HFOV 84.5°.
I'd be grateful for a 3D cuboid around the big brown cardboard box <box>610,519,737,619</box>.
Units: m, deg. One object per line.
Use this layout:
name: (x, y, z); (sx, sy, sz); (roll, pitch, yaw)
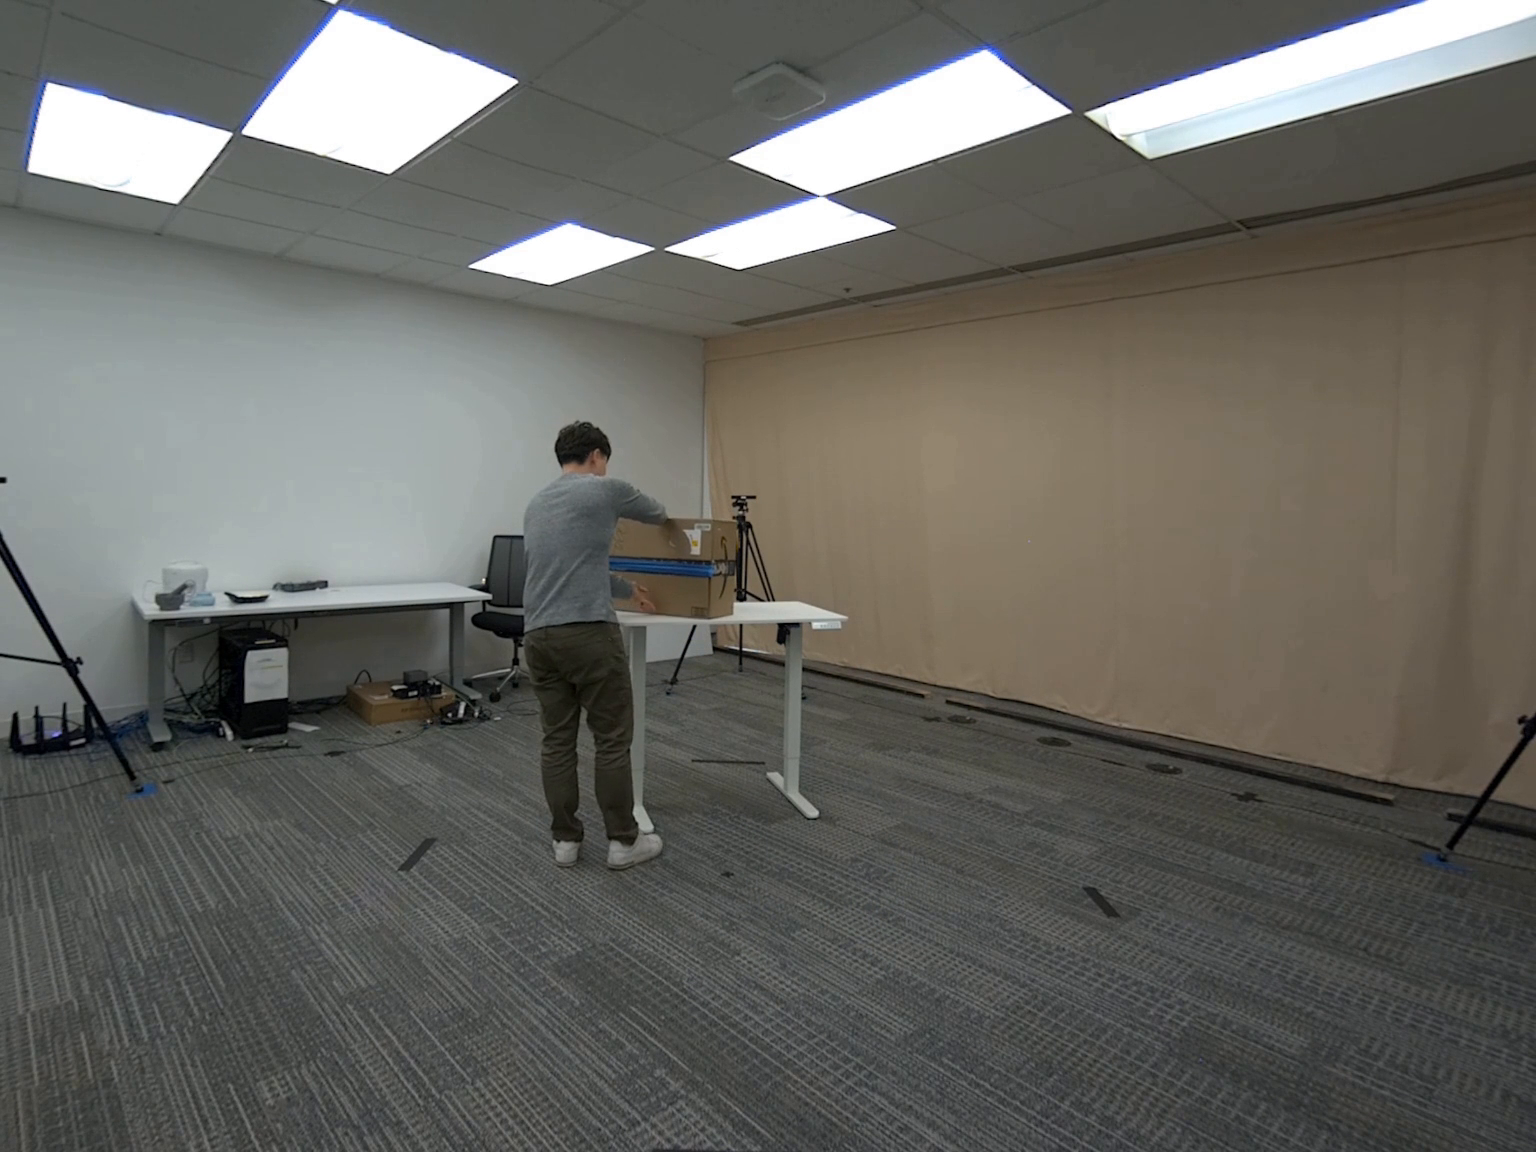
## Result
big brown cardboard box: (-0.439, -0.047, 3.713); (0.601, 0.417, 0.228); (3, 2, 29)
